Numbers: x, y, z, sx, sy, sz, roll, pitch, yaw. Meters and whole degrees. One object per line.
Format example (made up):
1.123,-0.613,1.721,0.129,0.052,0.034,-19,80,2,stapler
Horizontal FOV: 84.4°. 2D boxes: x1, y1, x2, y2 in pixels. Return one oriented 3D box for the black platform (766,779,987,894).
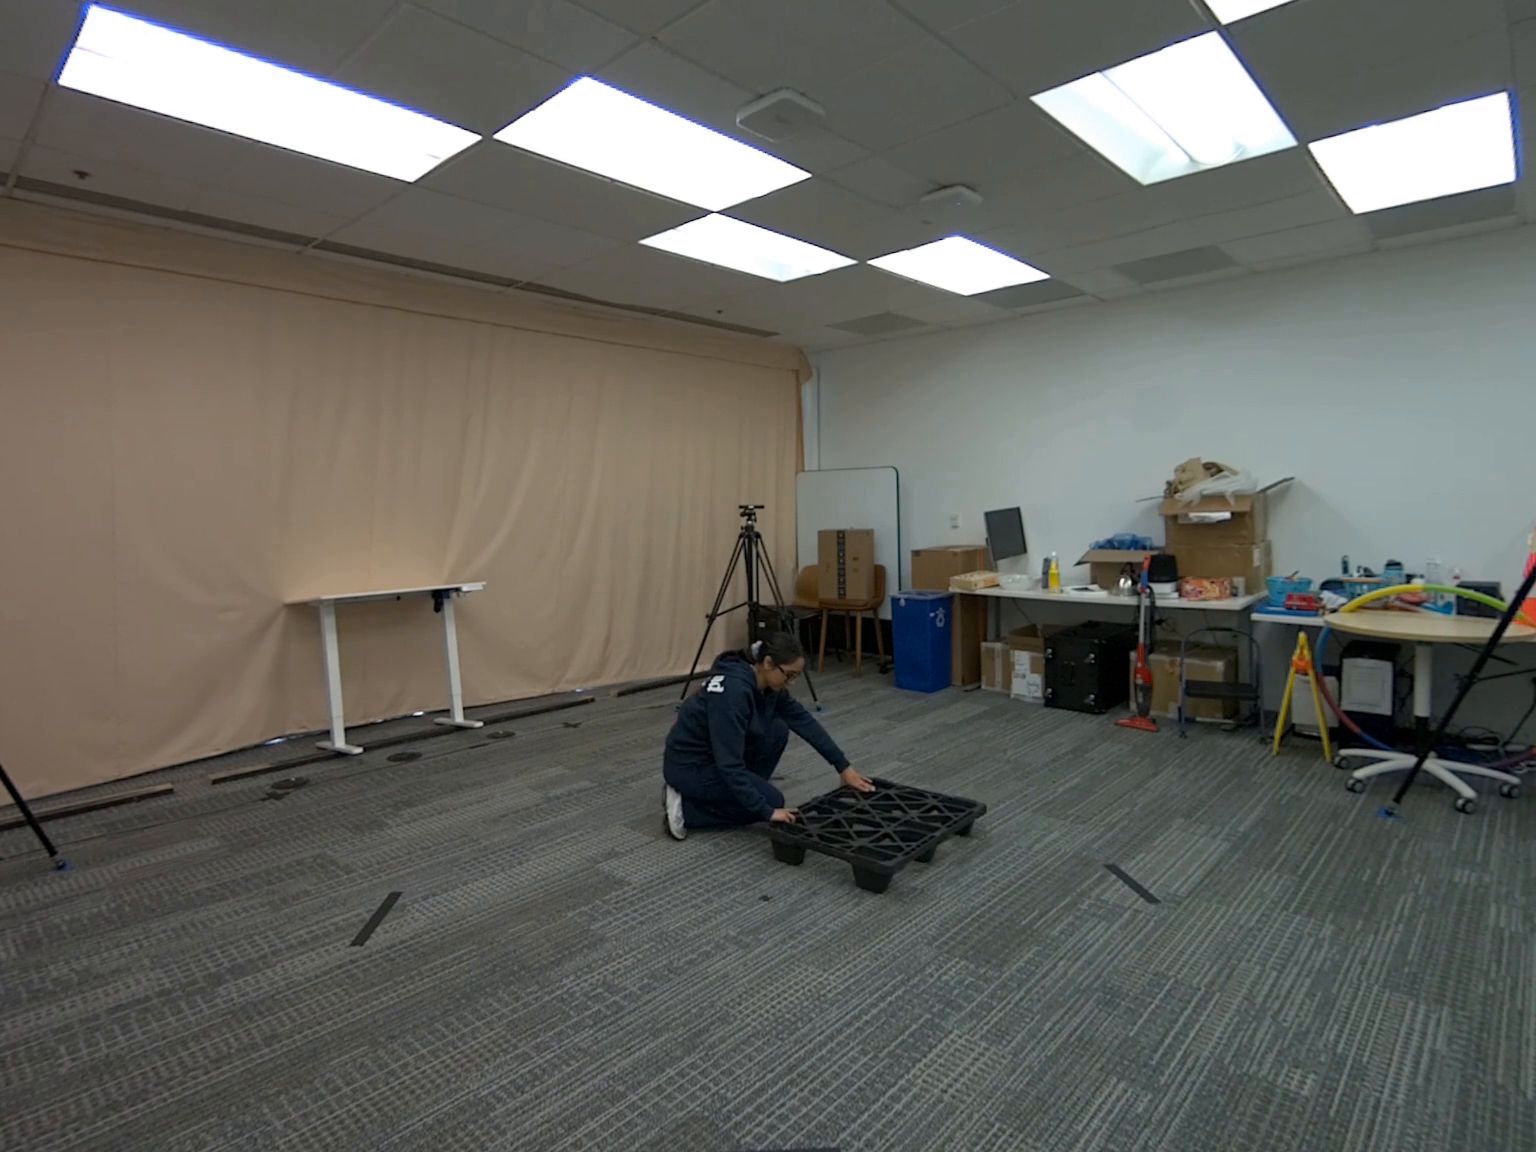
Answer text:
0.434,1.030,3.408,0.625,0.143,0.781,3,6,40,black platform
